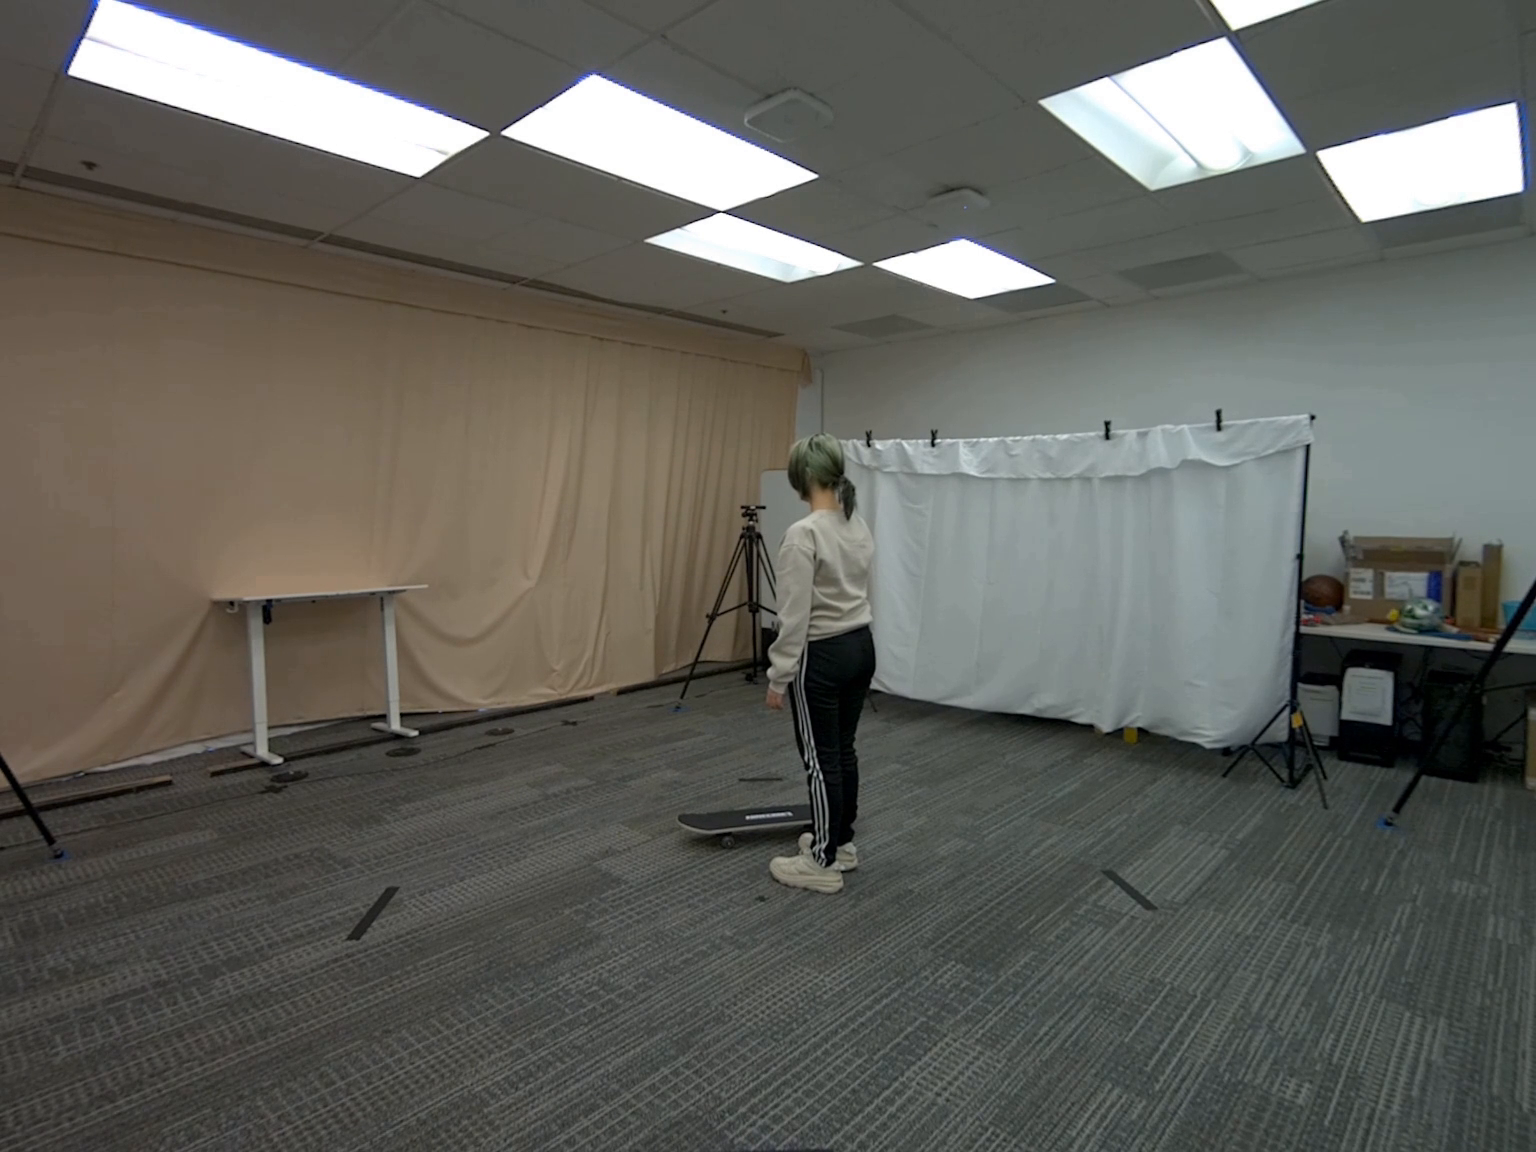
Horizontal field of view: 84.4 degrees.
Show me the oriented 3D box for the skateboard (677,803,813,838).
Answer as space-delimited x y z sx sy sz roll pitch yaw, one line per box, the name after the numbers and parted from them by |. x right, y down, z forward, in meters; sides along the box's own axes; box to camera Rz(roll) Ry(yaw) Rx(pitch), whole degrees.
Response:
0.000 1.040 3.544 0.774 0.110 0.196 -1 3 -14 | skateboard
